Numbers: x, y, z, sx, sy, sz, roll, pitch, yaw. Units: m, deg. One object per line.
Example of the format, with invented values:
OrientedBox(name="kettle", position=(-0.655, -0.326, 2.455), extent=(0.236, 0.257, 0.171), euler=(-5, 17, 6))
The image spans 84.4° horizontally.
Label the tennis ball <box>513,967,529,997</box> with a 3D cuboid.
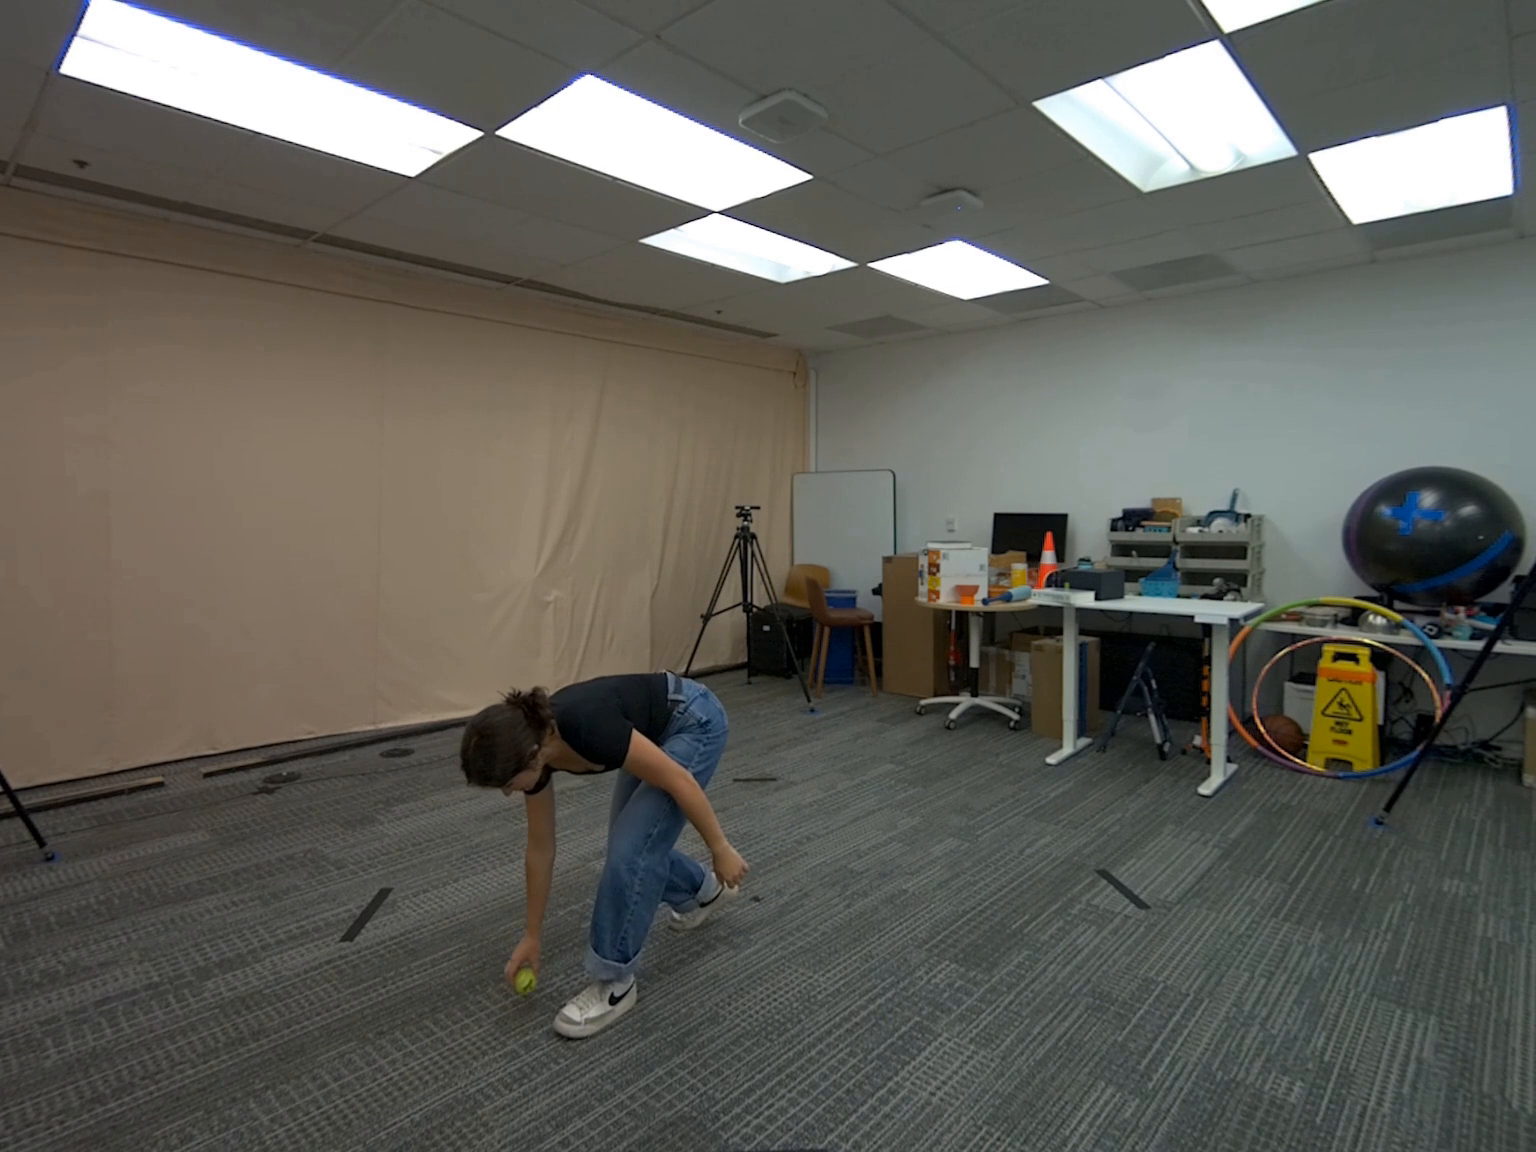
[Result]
OrientedBox(name="tennis ball", position=(-0.715, 1.130, 2.308), extent=(0.066, 0.066, 0.067), euler=(0, 4, -2))
